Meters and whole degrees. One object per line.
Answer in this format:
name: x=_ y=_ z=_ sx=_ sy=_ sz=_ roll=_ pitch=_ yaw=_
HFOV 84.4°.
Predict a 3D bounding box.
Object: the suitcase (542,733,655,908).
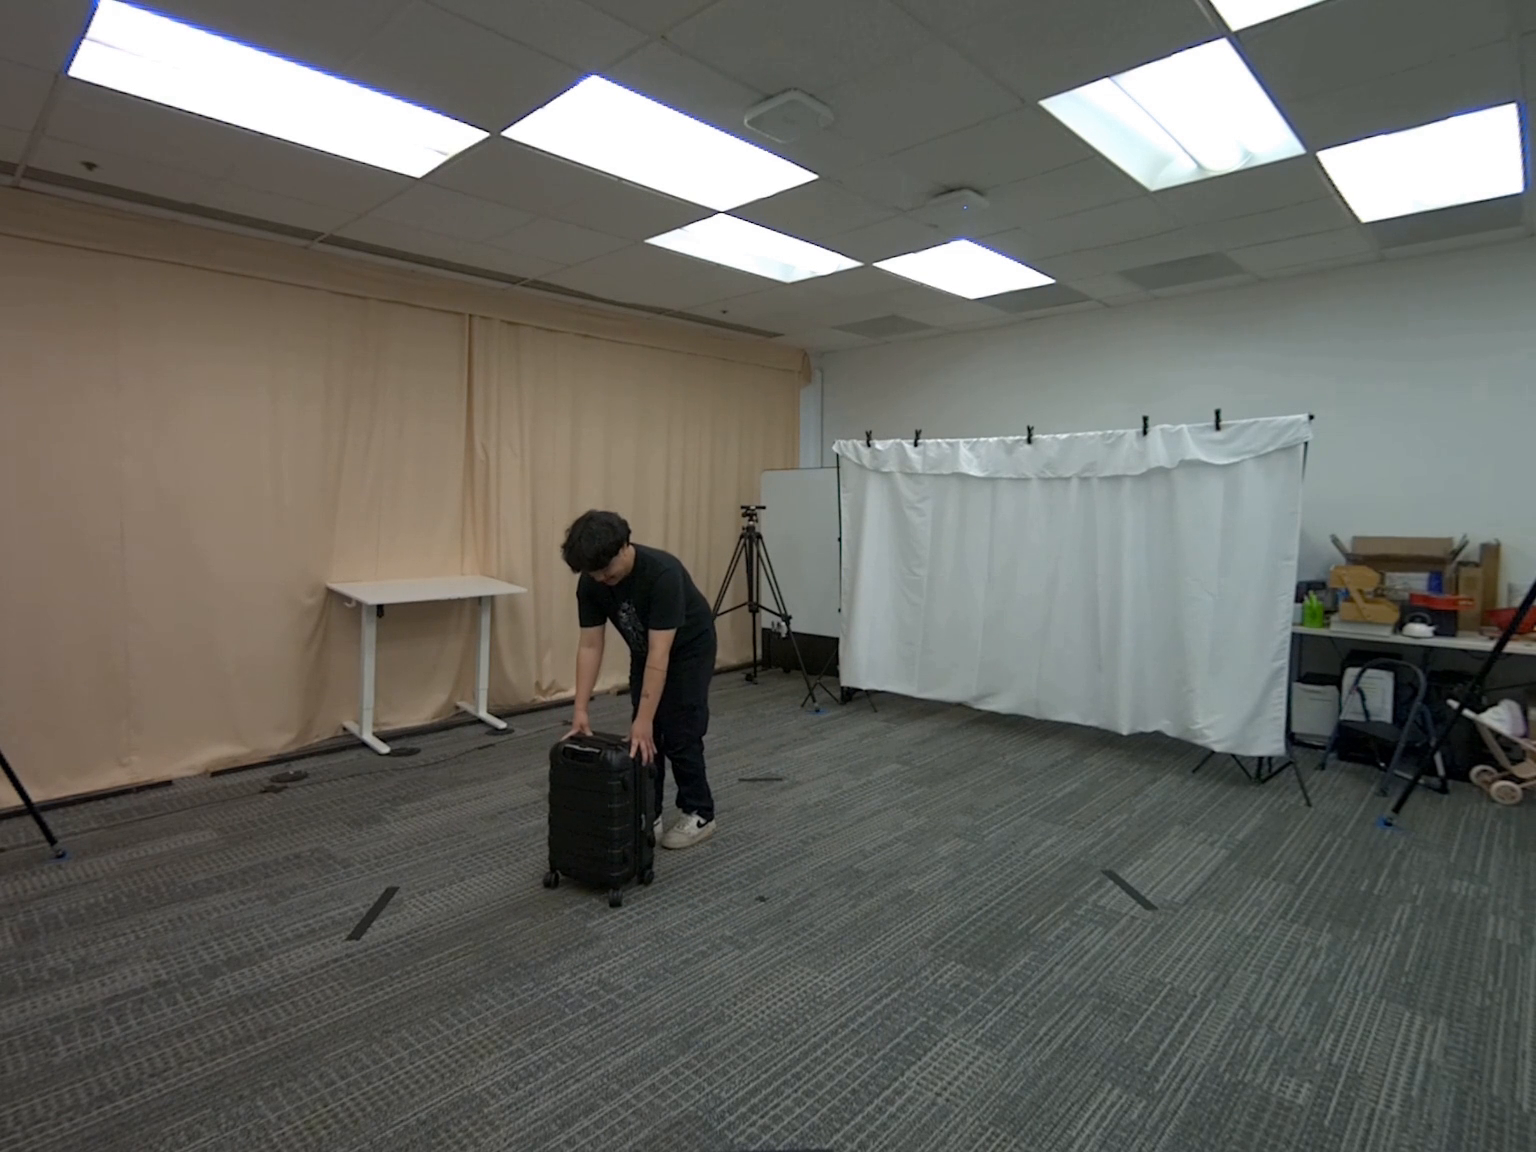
suitcase: x=-0.624 y=0.866 z=3.116 sx=0.386 sy=0.549 sz=0.241 roll=0 pitch=1 yaw=30
